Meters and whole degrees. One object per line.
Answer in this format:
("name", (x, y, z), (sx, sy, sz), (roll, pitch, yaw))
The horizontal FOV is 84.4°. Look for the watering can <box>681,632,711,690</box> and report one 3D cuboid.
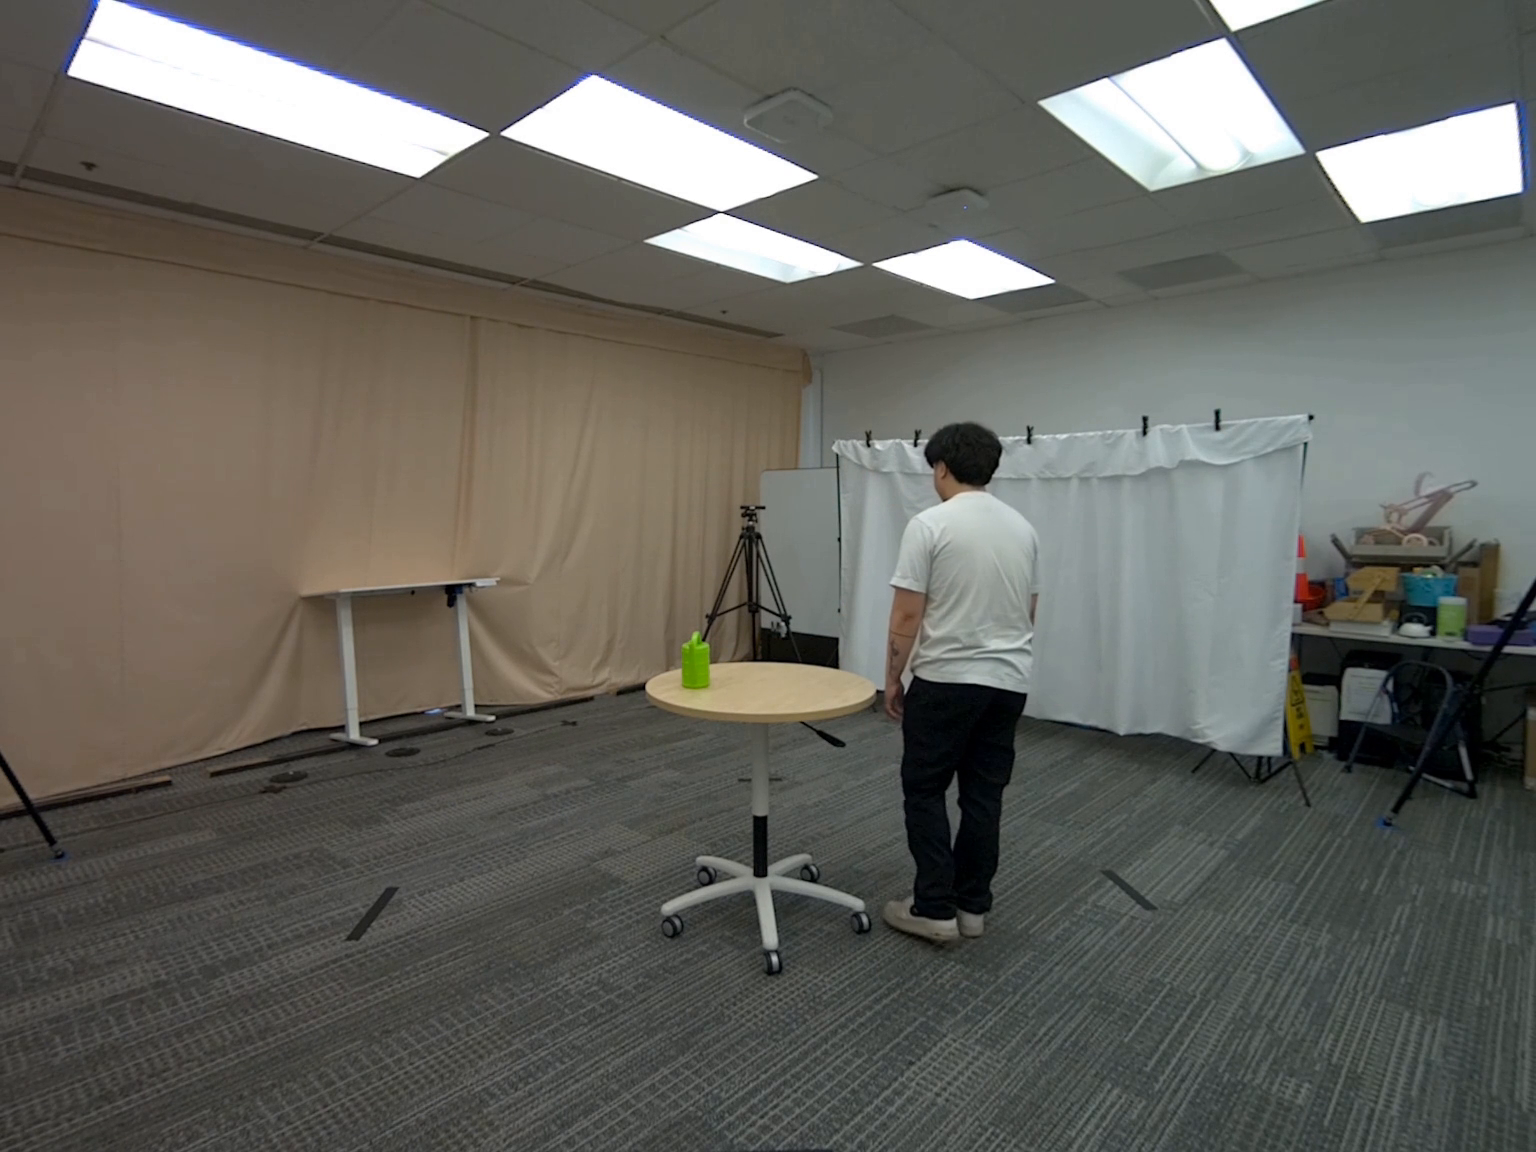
("watering can", (-0.254, 0.289, 2.769), (0.100, 0.176, 0.272), (2, 5, 22))
